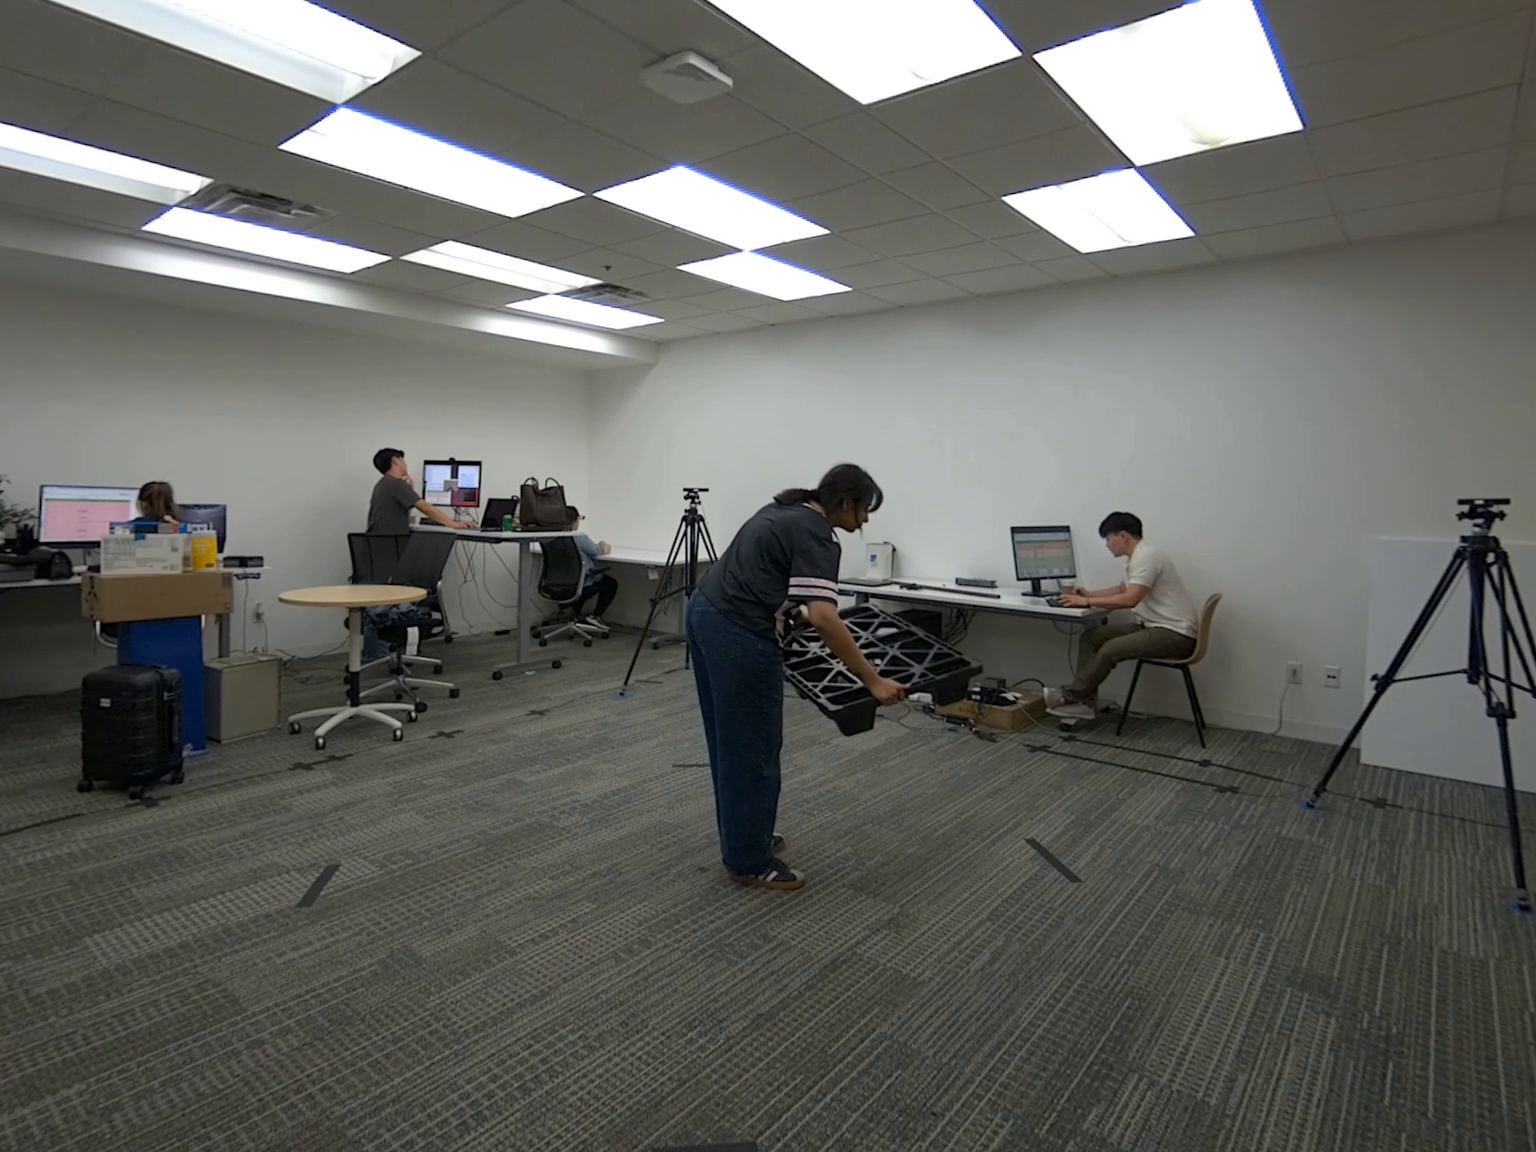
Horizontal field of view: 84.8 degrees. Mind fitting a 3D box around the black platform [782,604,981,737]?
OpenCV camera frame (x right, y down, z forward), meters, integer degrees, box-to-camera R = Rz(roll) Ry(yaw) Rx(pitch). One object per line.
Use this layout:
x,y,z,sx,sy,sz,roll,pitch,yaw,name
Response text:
0.323,0.341,3.226,0.597,0.141,0.831,-15,18,-18,black platform
